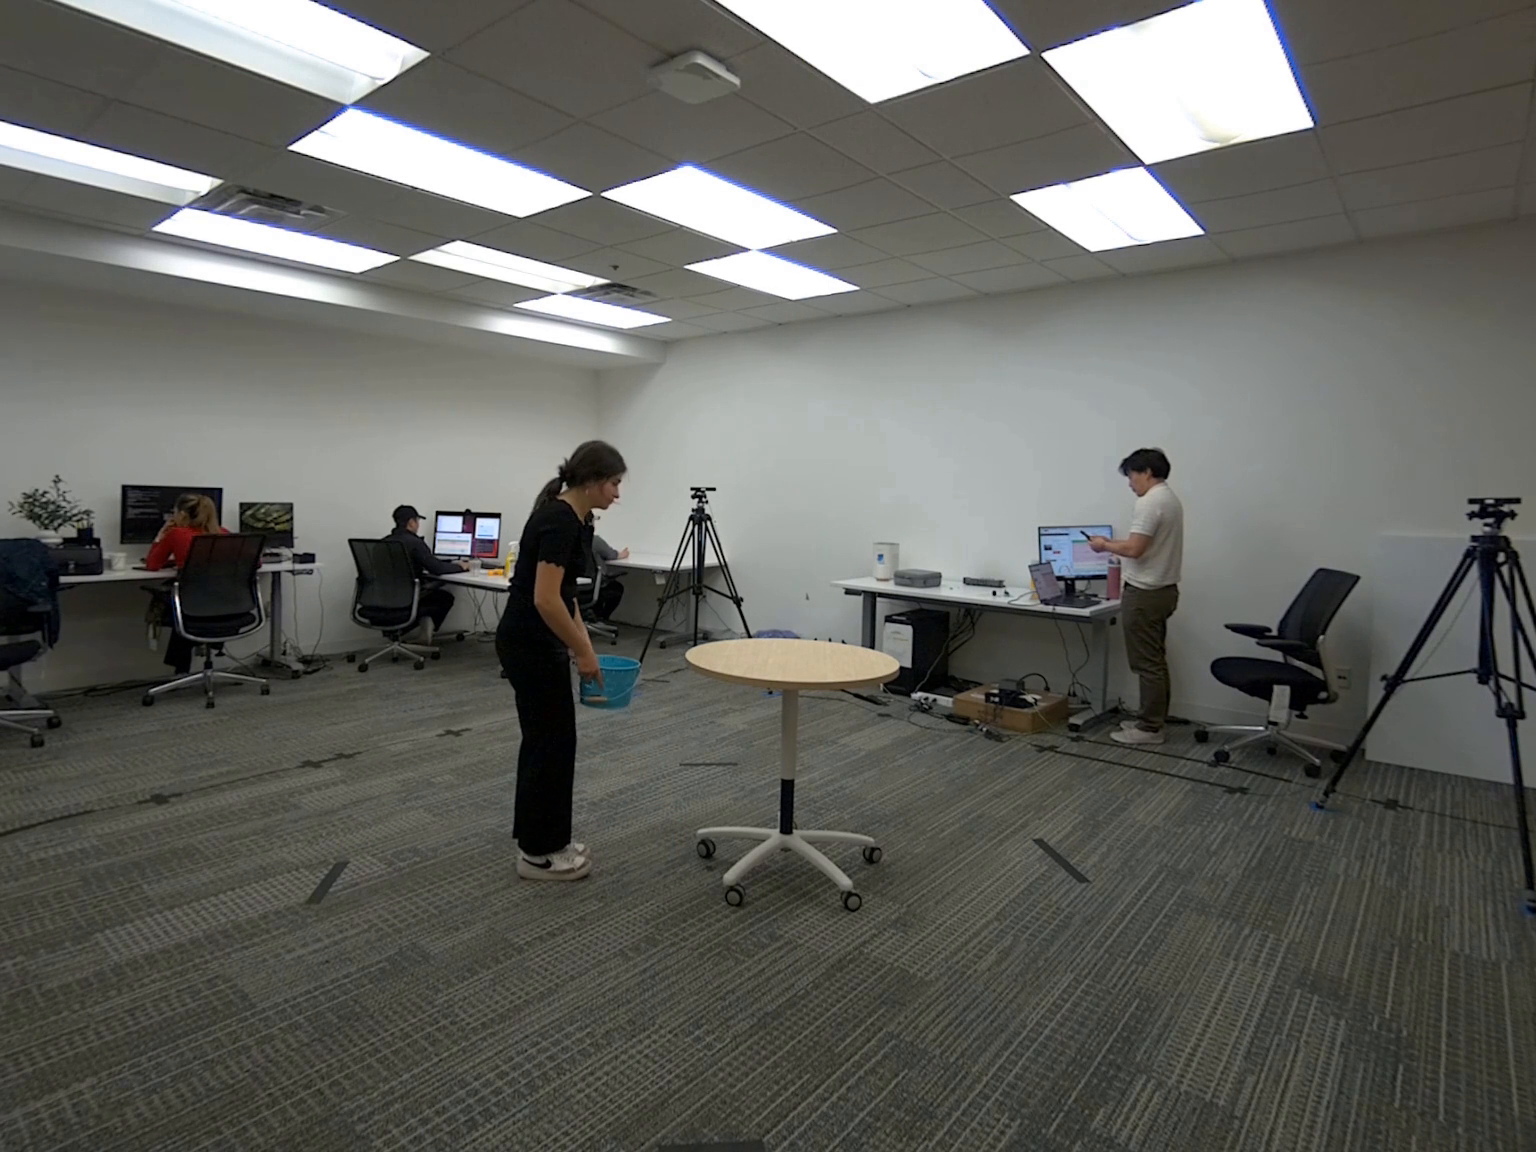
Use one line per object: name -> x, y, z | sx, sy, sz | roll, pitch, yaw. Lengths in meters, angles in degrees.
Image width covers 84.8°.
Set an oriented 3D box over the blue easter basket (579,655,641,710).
blue easter basket -> -0.595, 0.402, 3.060 | 0.243, 0.155, 0.244 | 6, 3, -2
